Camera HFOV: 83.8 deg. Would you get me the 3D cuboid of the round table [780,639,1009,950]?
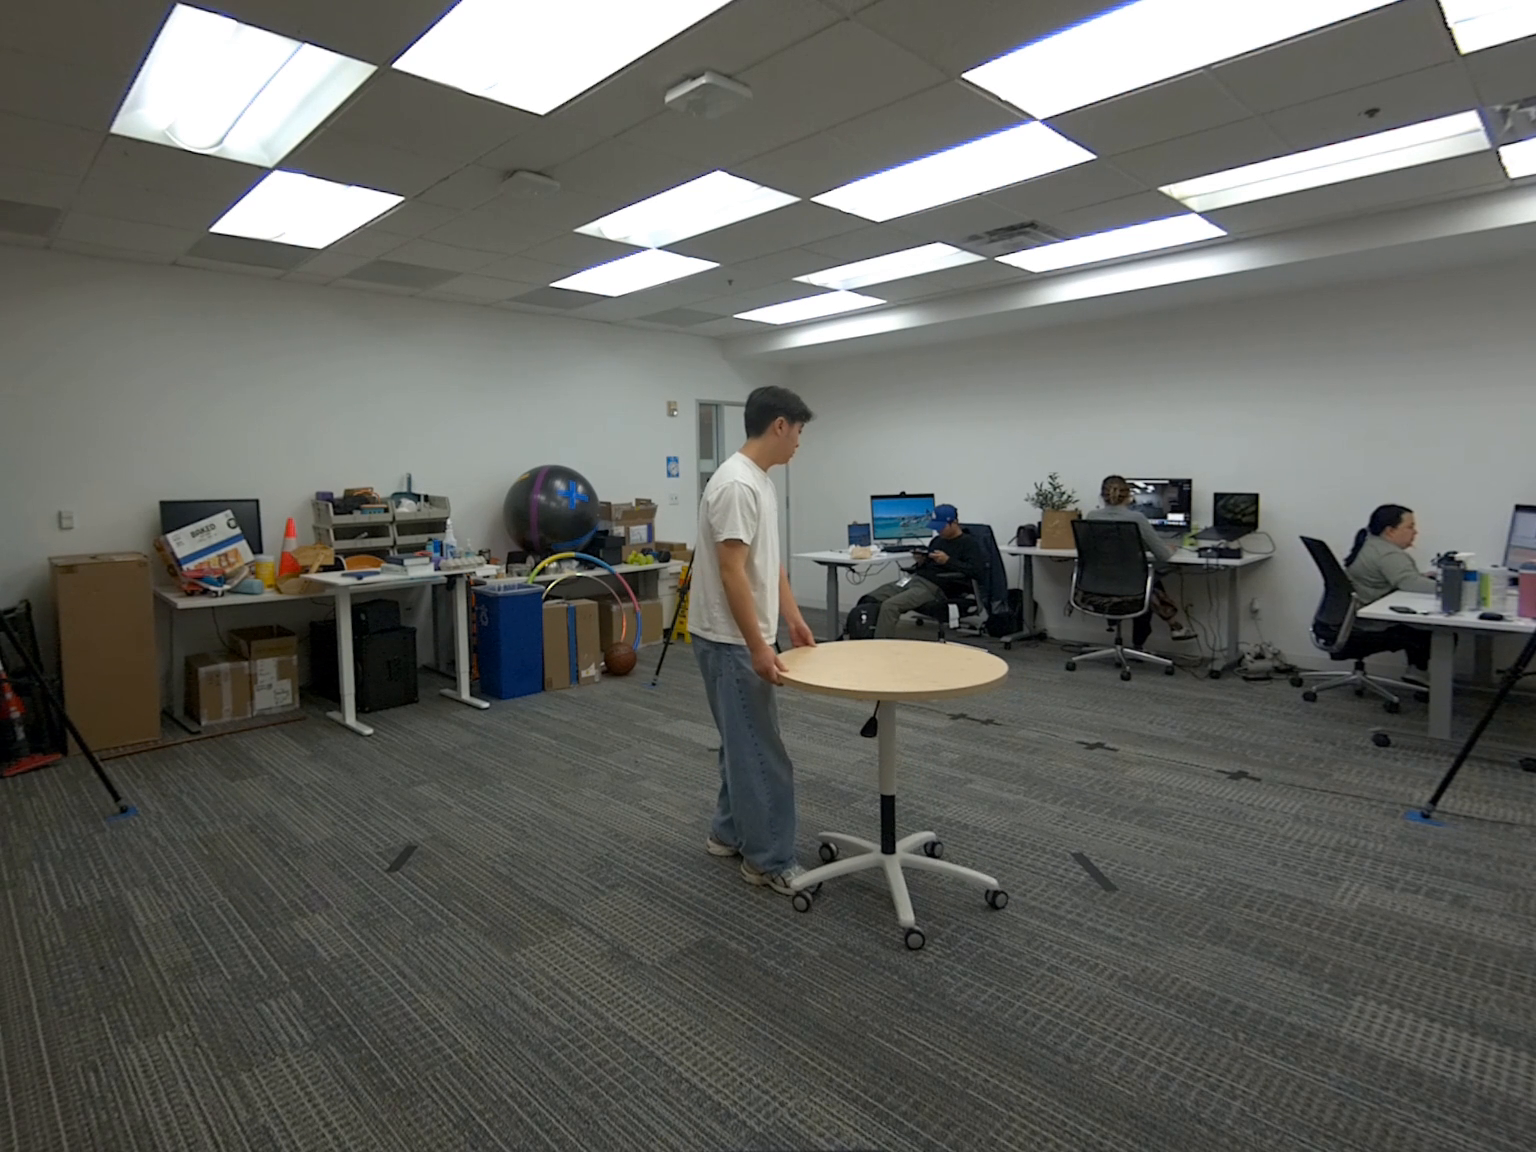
[{"bbox_3d":[0.404,0.677,2.847,0.763,0.790,0.768,-1,5,-2],"label":"round table"}]
